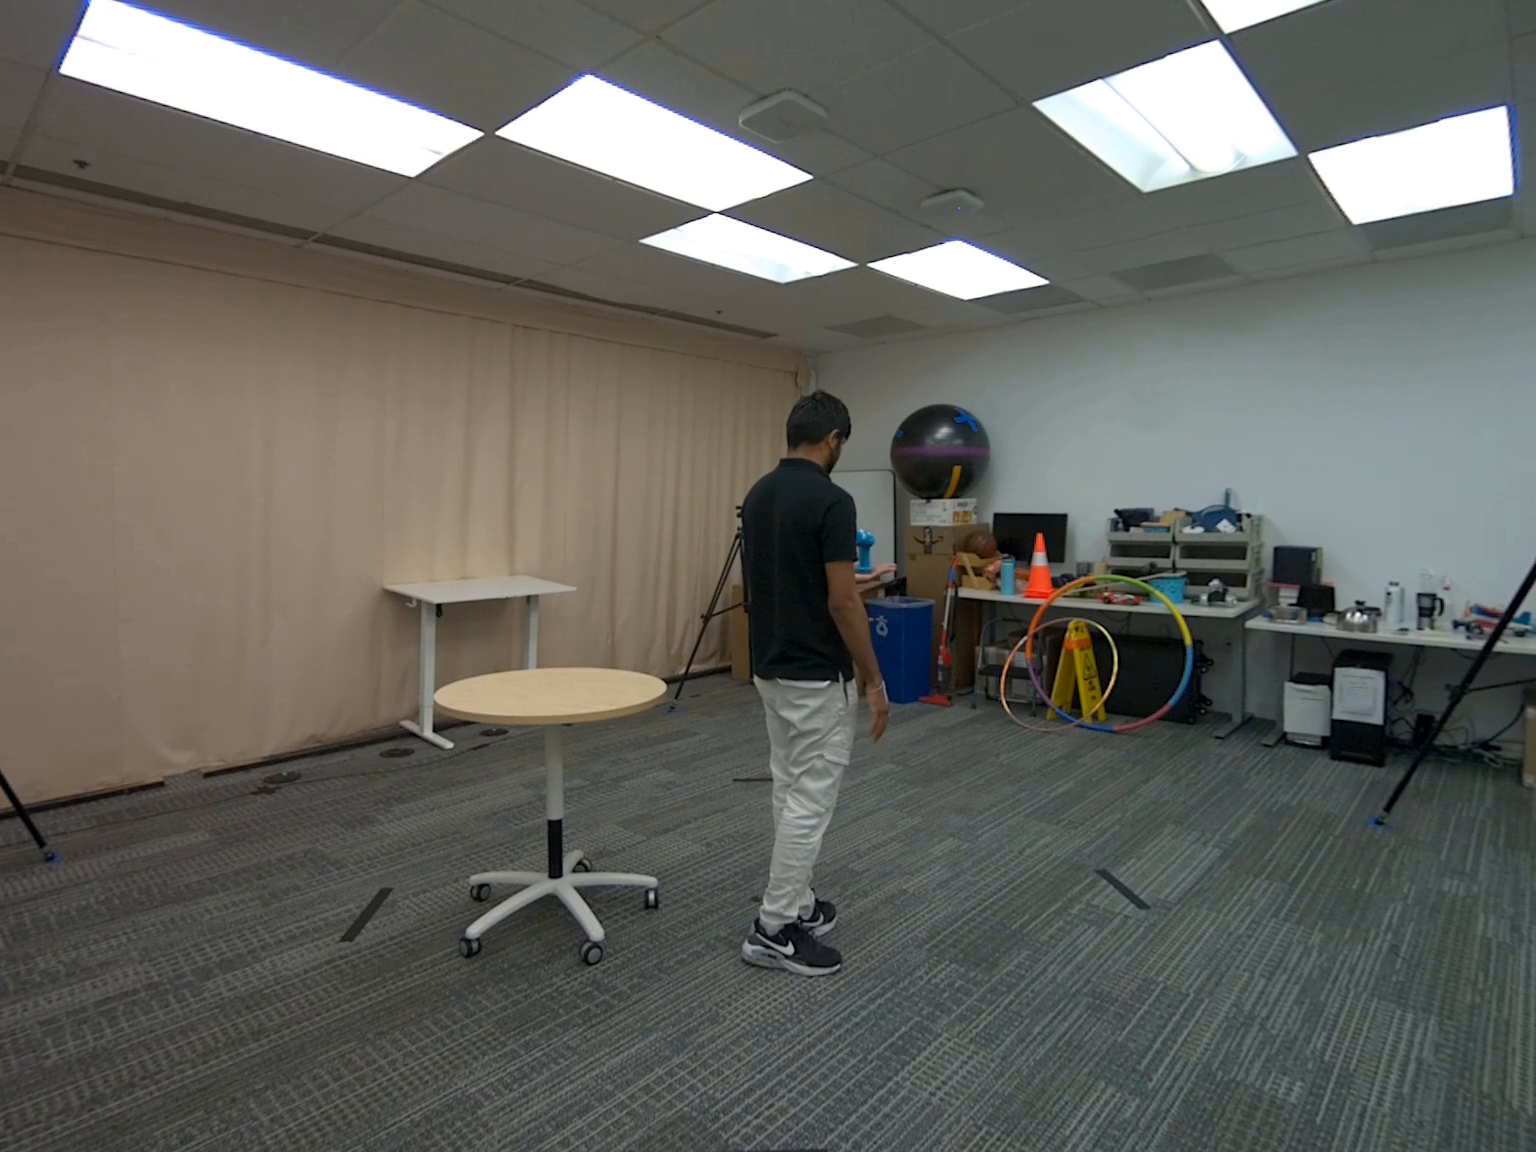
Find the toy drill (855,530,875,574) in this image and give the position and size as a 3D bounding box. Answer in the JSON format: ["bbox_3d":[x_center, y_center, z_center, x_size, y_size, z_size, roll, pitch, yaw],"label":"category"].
[{"bbox_3d":[0.319,-0.088,2.857,0.060,0.145,0.173,7,10,-17],"label":"toy drill"}]
